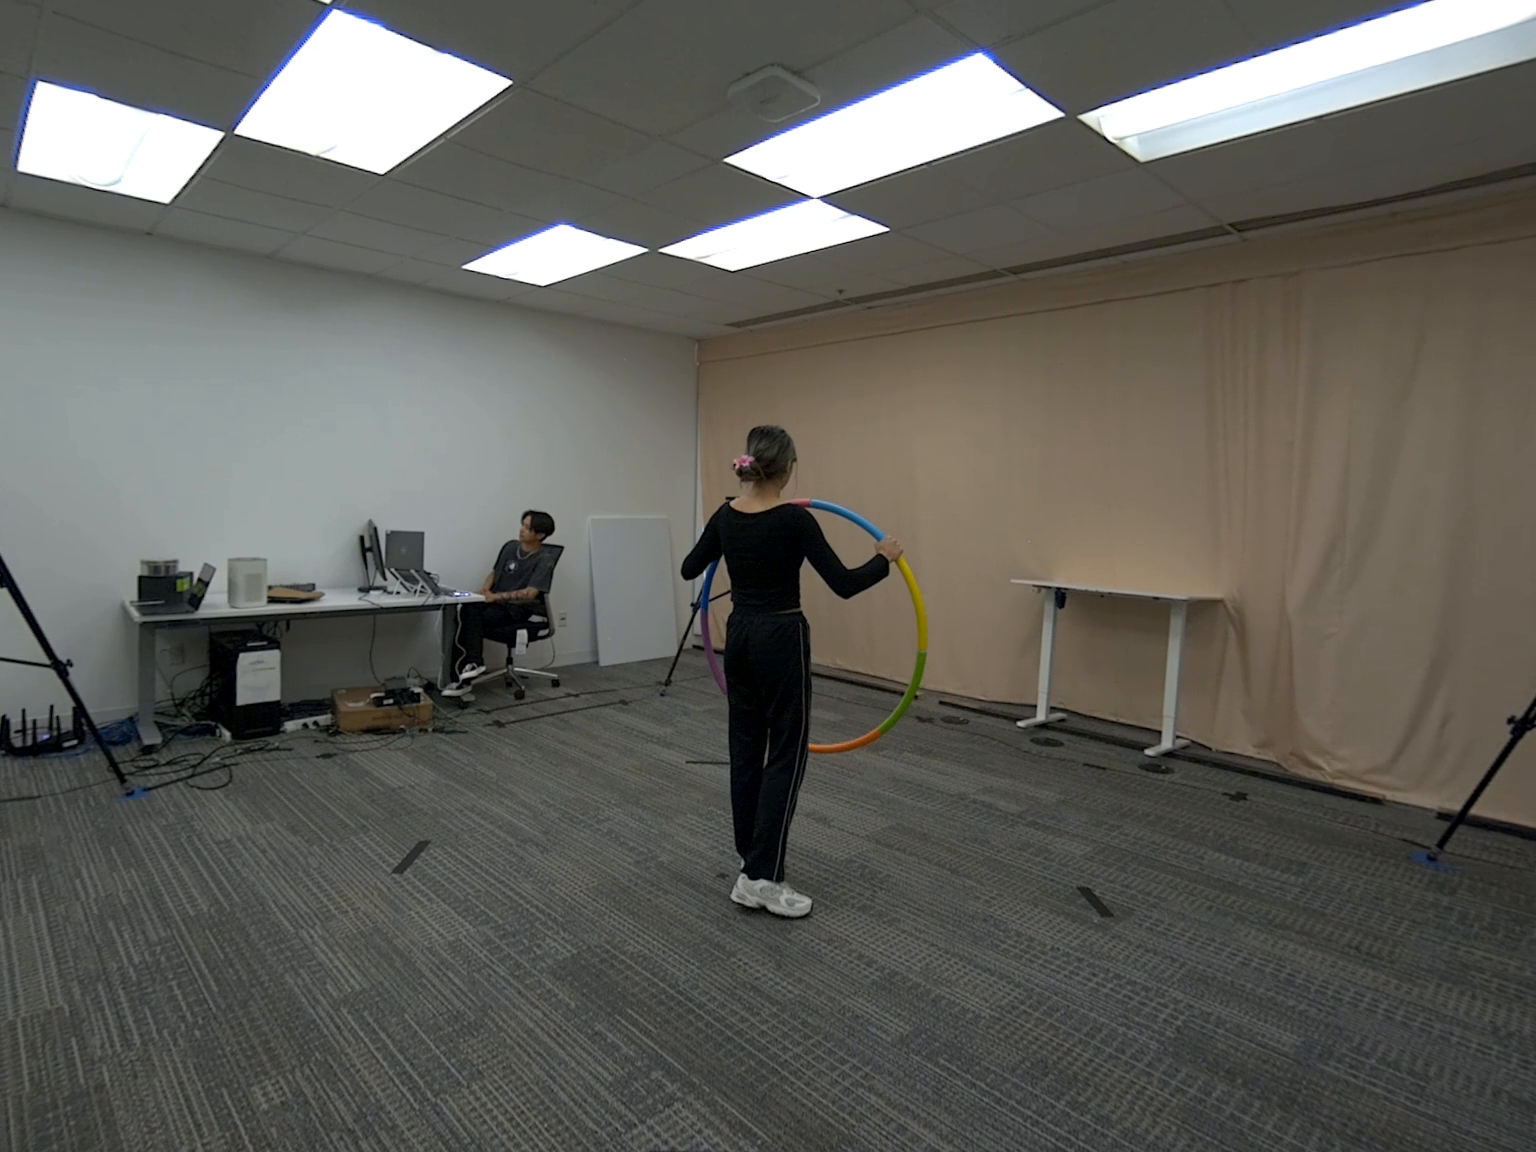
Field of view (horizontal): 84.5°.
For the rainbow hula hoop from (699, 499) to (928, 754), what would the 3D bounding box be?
[{"bbox_3d":[0.130,0.199,3.265,1.001,0.974,0.035,4,8,32],"label":"rainbow hula hoop"}]
